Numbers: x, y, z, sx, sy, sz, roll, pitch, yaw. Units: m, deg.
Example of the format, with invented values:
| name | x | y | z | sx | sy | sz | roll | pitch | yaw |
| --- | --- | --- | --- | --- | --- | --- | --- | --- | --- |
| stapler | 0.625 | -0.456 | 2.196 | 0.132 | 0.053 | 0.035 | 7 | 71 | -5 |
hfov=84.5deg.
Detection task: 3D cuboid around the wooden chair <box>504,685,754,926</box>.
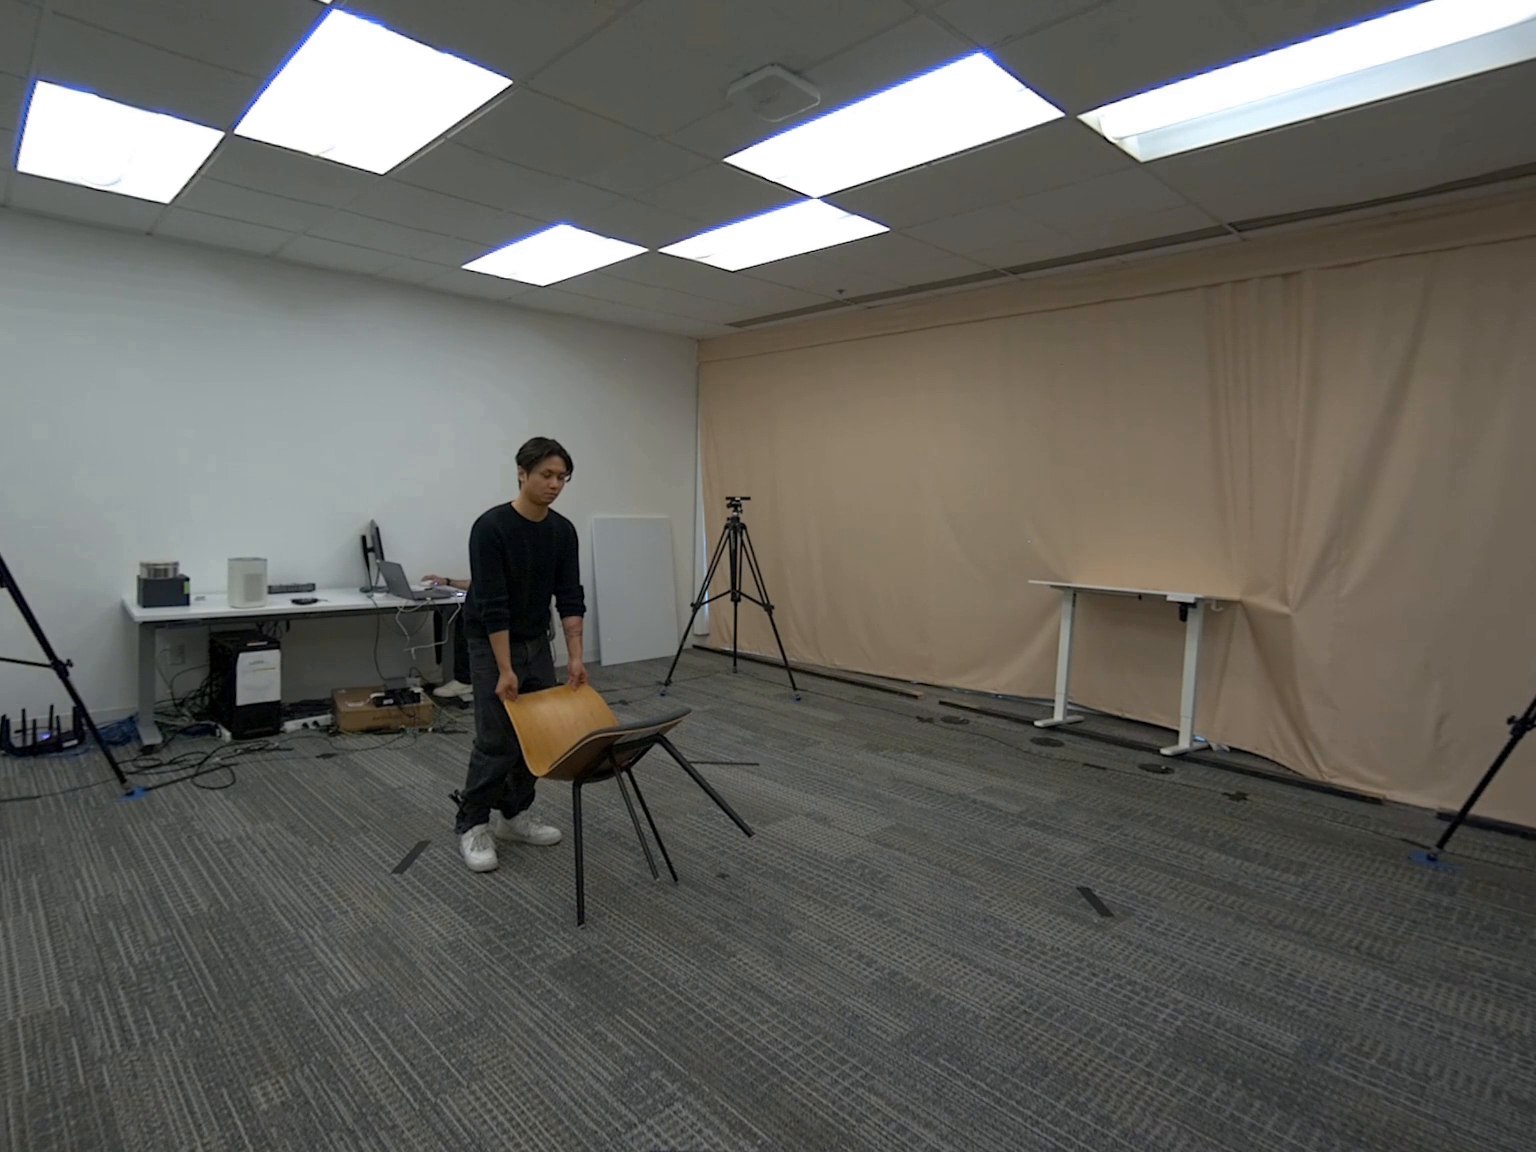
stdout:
| name | x | y | z | sx | sy | sz | roll | pitch | yaw |
| --- | --- | --- | --- | --- | --- | --- | --- | --- | --- |
| wooden chair | -0.512 | 0.637 | 2.888 | 0.467 | 0.897 | 0.523 | -3 | -36 | -49 |
